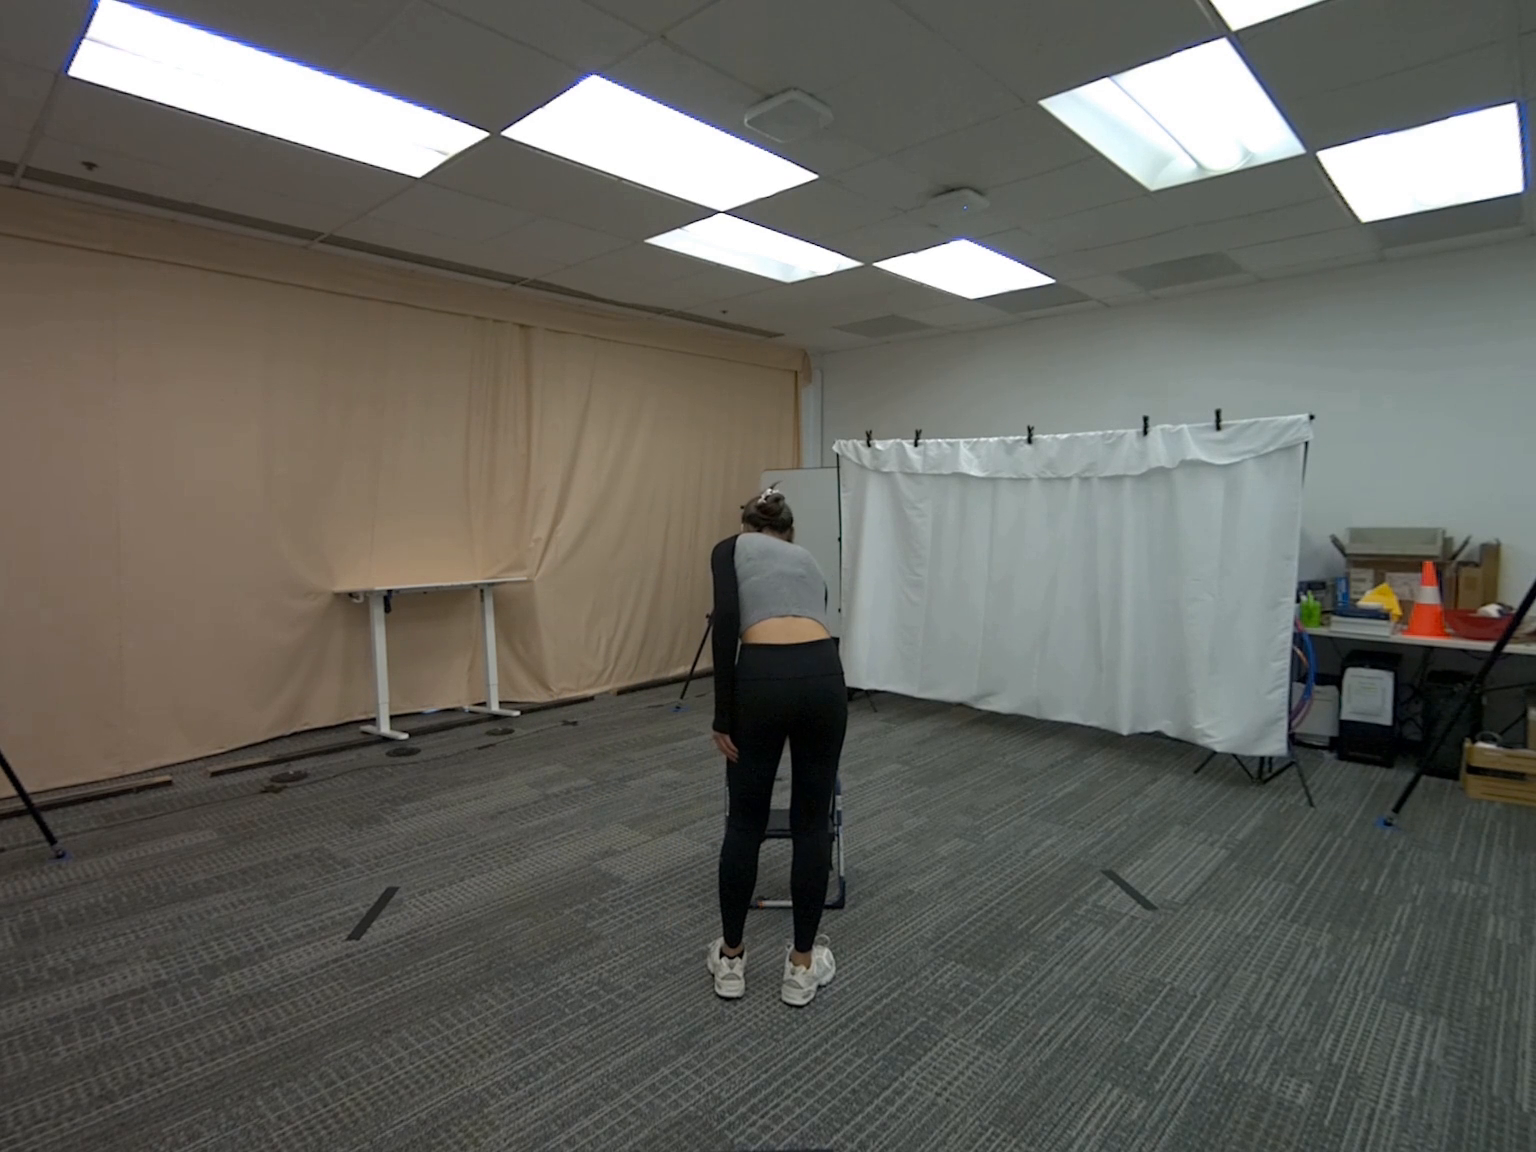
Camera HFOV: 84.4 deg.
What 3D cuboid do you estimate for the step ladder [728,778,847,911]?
[{"bbox_3d":[0.054,0.840,3.052,0.430,0.605,0.350,0,3,-2],"label":"step ladder"}]
